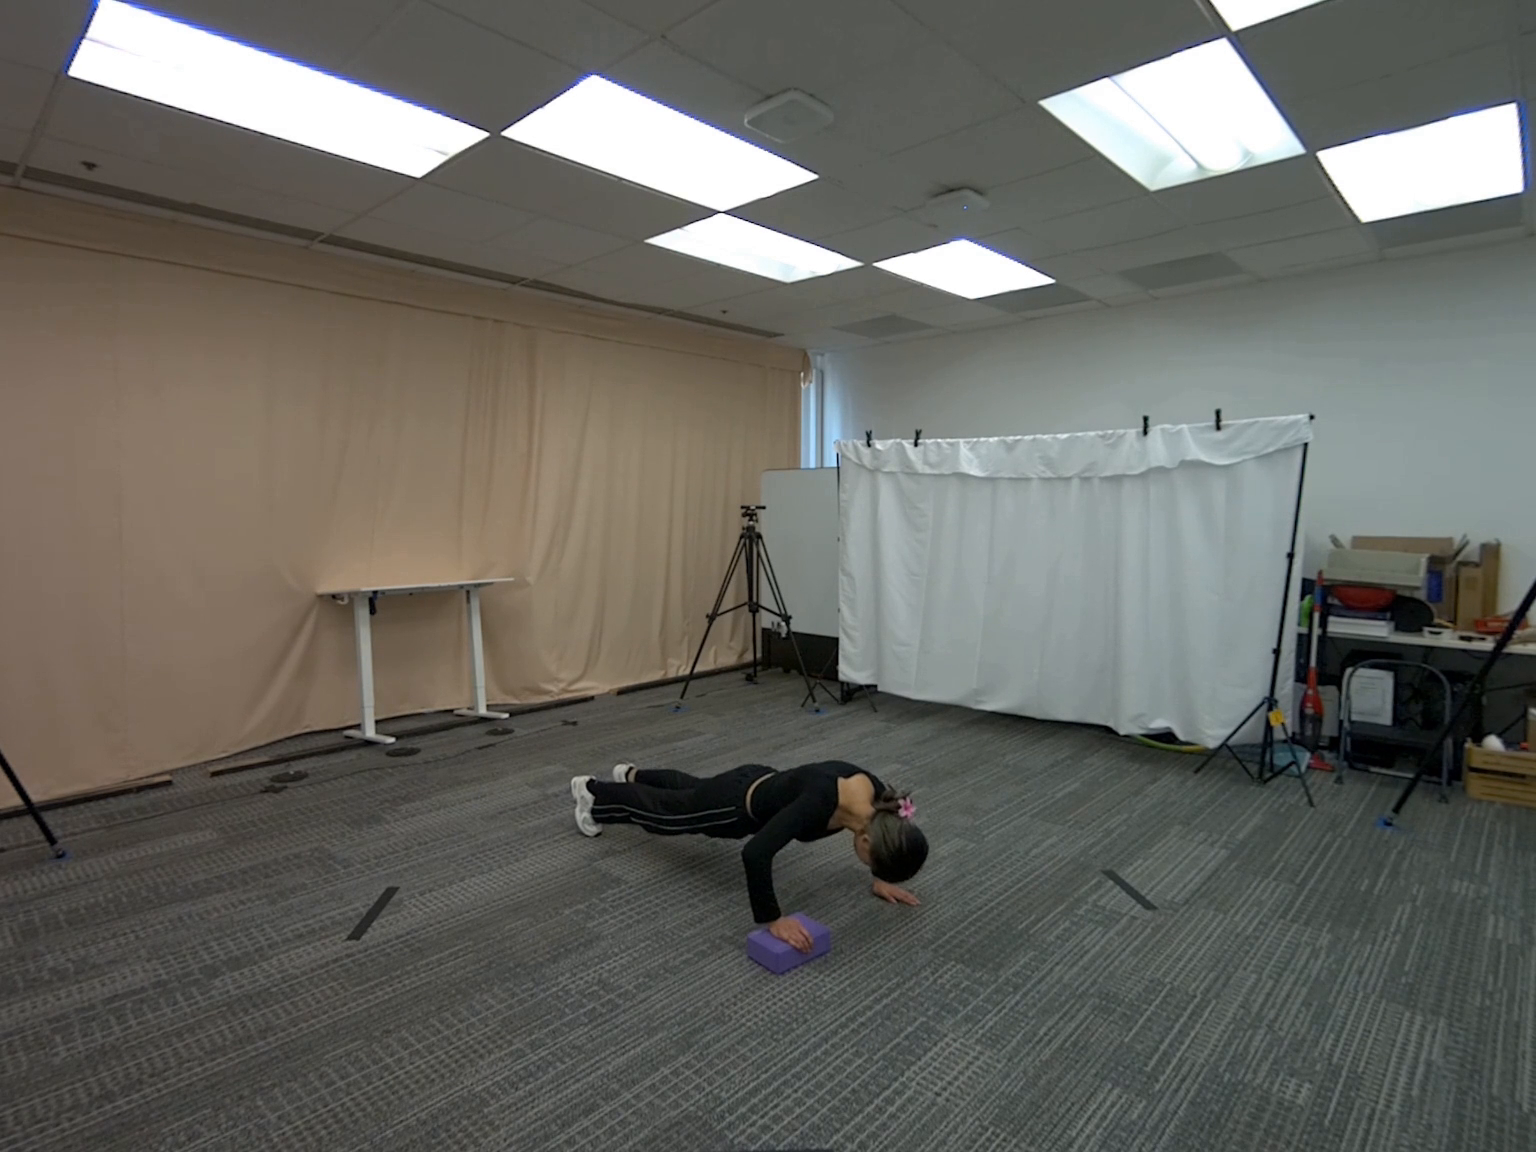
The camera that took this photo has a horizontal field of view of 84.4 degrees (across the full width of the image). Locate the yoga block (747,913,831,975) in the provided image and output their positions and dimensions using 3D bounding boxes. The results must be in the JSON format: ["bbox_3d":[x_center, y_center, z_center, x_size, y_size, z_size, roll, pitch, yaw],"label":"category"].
[{"bbox_3d":[0.068,1.134,2.616,0.222,0.076,0.154,-5,7,-40],"label":"yoga block"}]
